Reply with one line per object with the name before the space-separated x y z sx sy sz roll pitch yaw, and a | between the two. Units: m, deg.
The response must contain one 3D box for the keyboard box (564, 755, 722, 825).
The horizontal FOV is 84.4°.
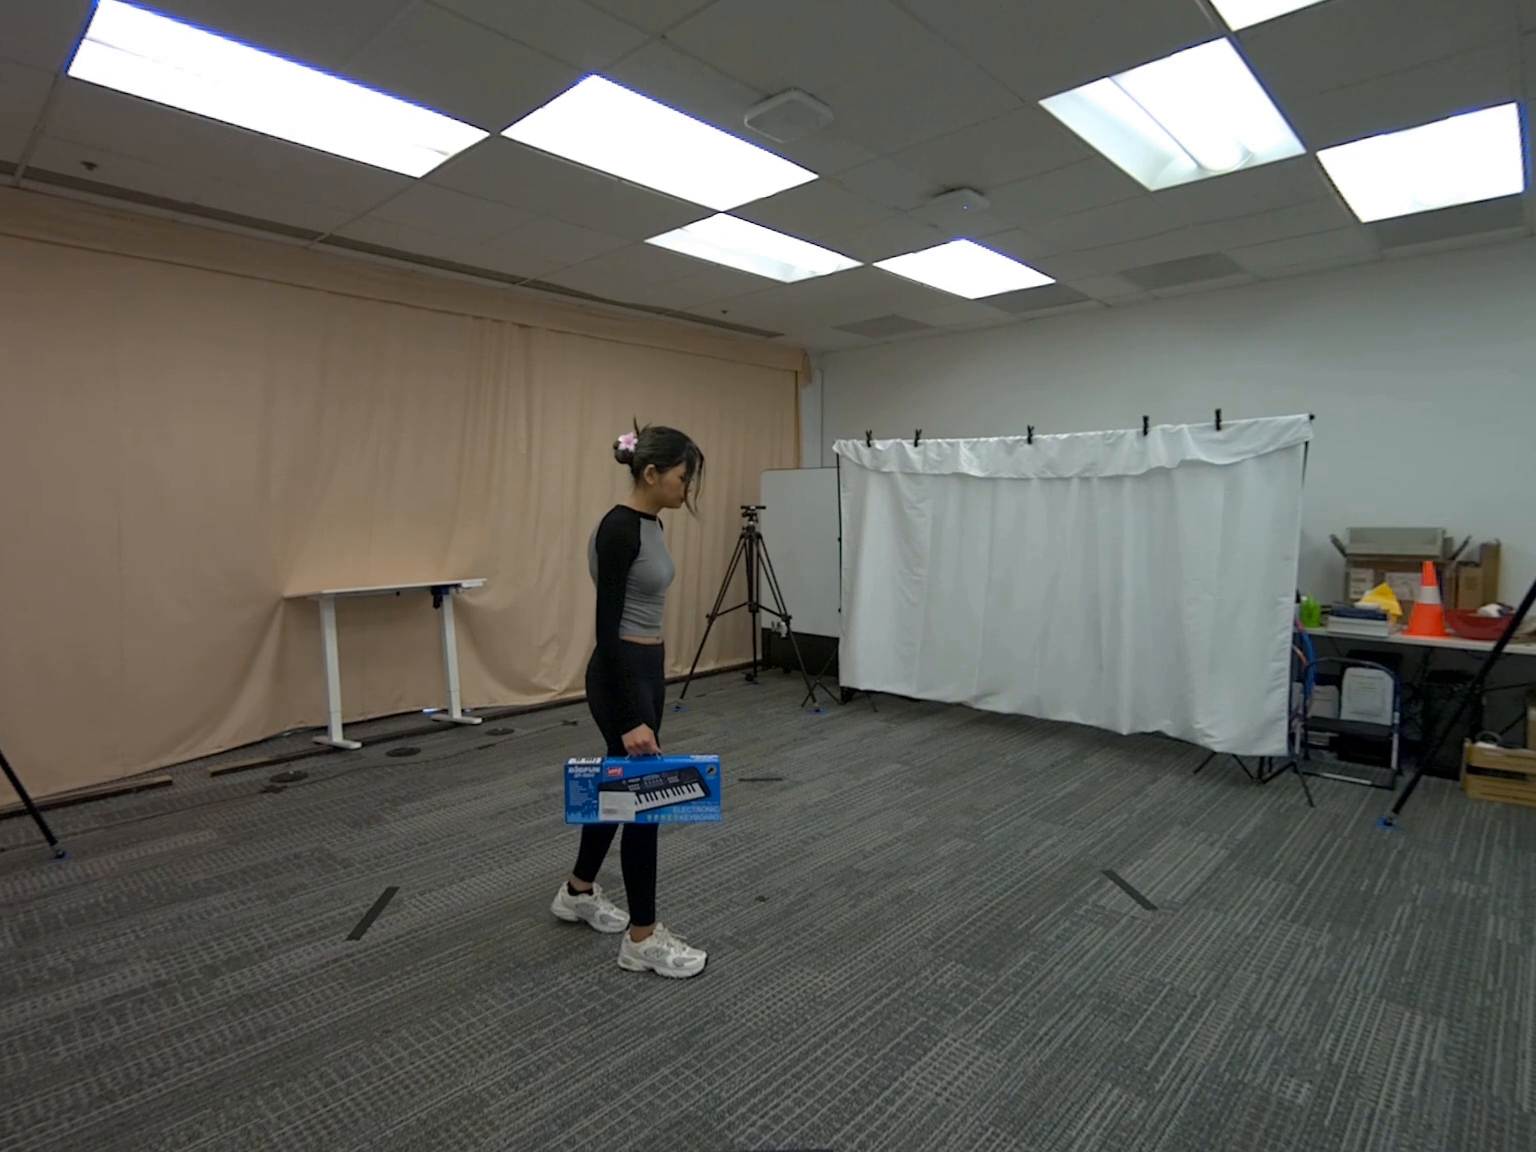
keyboard box | -0.351 0.601 2.377 0.435 0.175 0.059 0 4 -3
